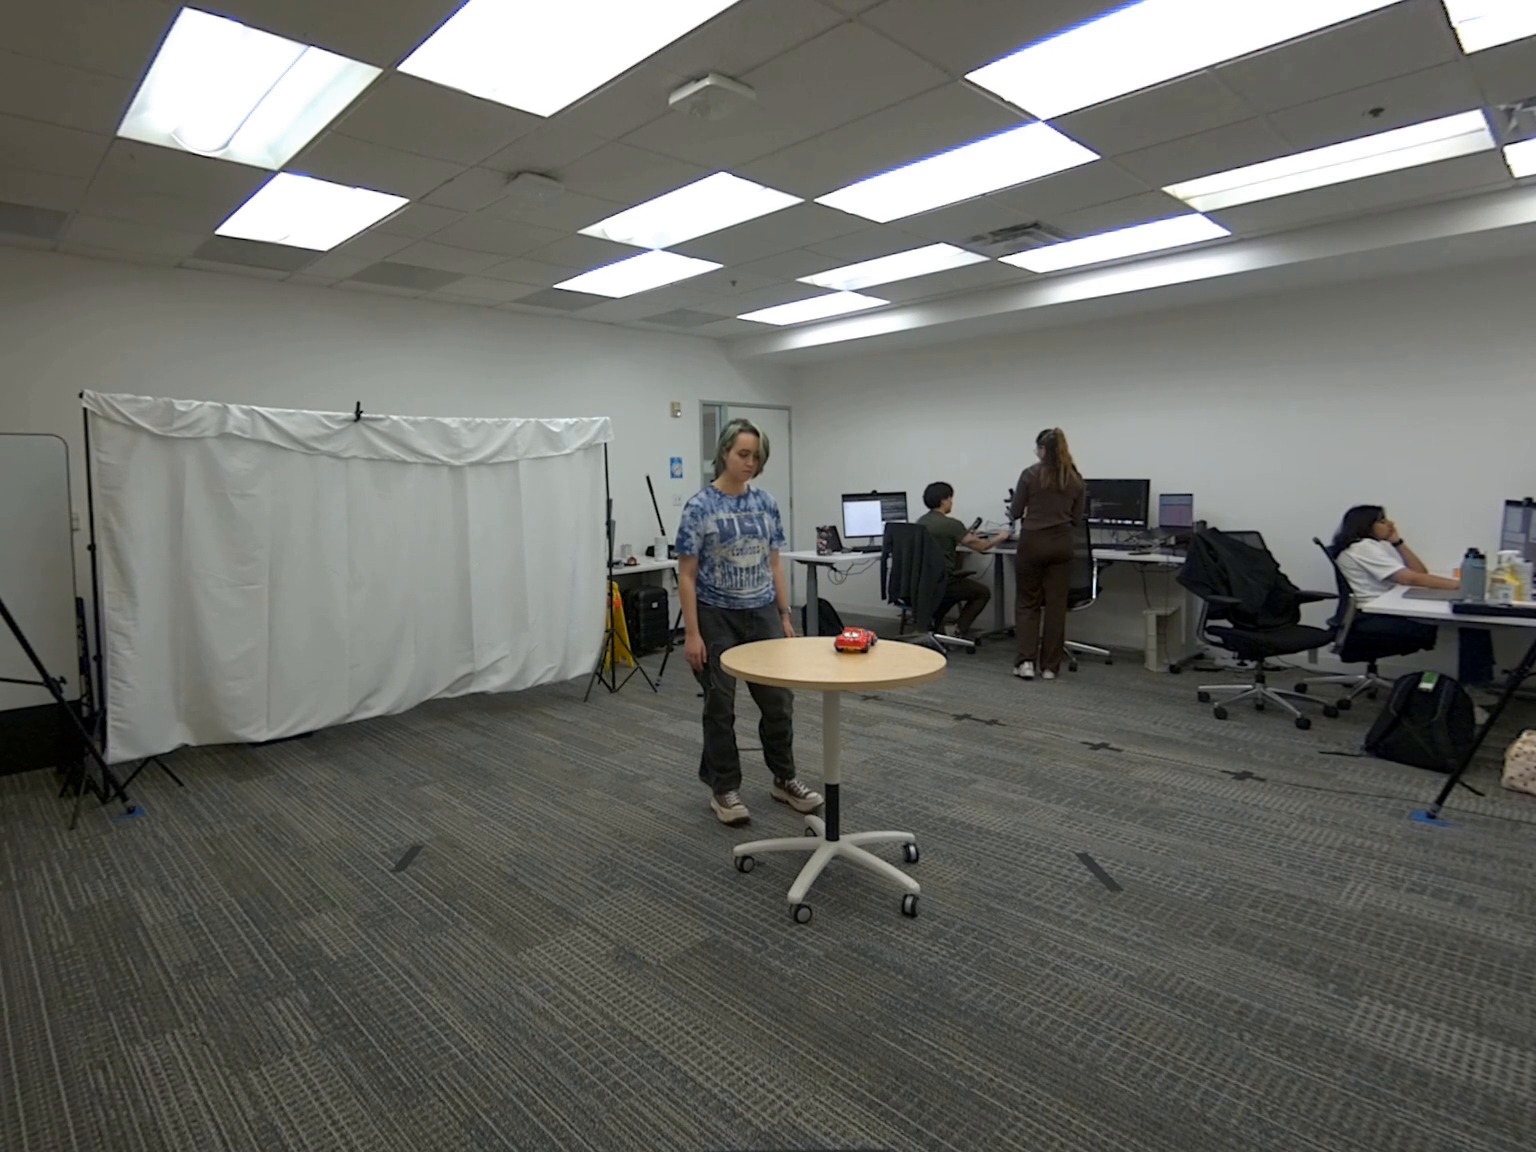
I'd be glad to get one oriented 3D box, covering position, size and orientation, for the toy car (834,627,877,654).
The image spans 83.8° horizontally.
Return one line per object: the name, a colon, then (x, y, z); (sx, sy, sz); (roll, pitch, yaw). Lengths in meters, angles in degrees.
toy car: (0.318, 0.231, 3.068); (0.132, 0.084, 0.249); (1, -5, 17)
